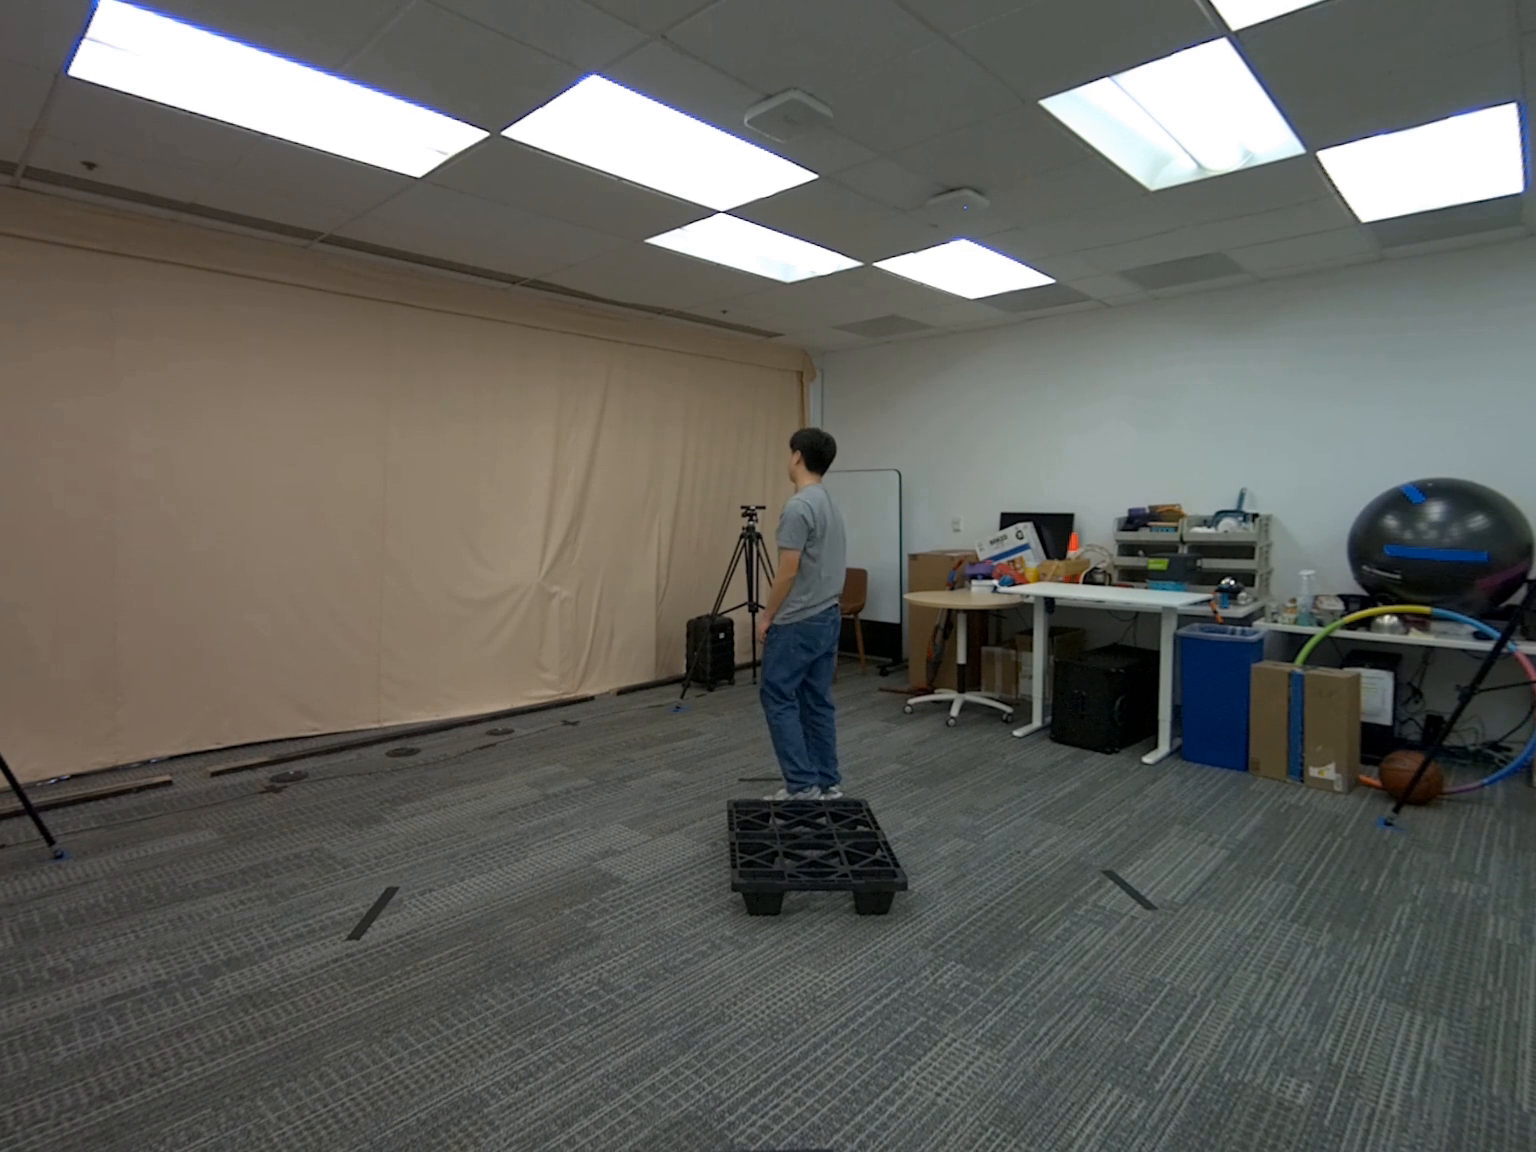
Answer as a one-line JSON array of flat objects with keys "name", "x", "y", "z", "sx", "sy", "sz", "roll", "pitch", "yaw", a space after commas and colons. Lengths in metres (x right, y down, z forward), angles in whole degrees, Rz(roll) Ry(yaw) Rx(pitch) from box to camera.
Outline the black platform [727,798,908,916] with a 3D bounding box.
[{"name": "black platform", "x": 0.144, "y": 1.053, "z": 3.216, "sx": 0.604, "sy": 0.143, "sz": 0.809, "roll": -1, "pitch": 5, "yaw": -3}]
